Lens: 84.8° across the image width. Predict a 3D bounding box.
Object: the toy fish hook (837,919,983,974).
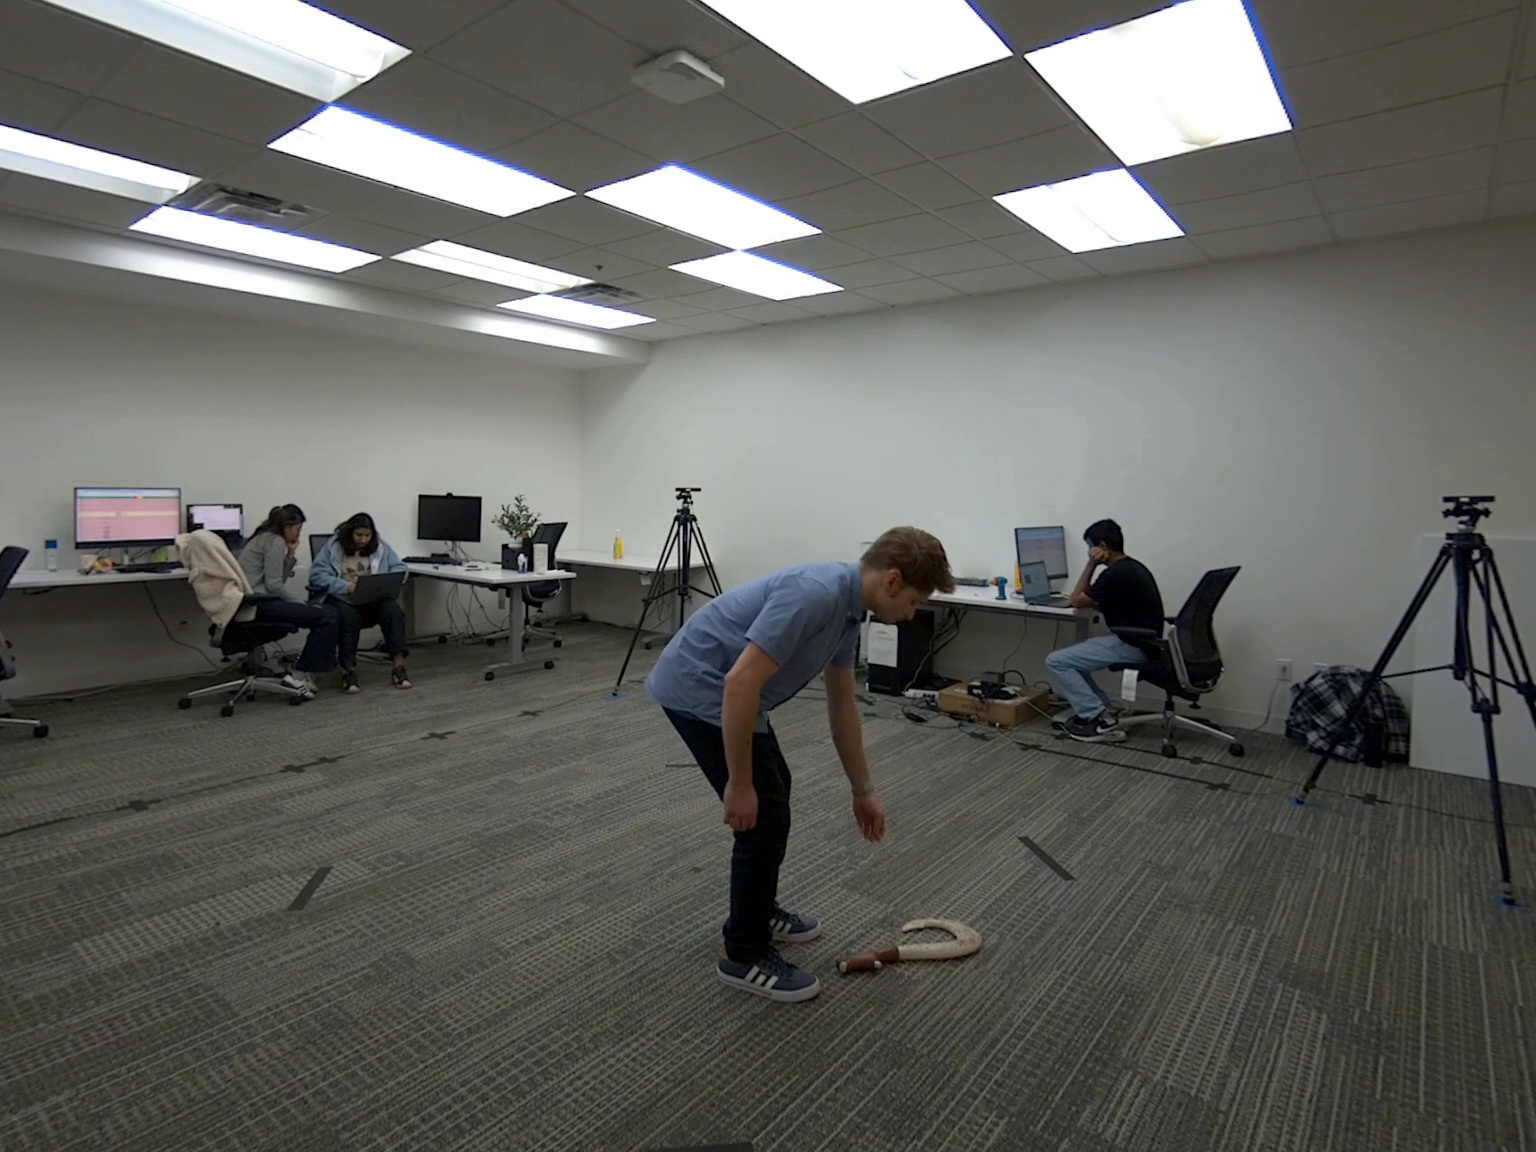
[{"bbox_3d":[0.406,1.119,2.587,0.495,0.048,0.229,0,-2,-22],"label":"toy fish hook"}]
